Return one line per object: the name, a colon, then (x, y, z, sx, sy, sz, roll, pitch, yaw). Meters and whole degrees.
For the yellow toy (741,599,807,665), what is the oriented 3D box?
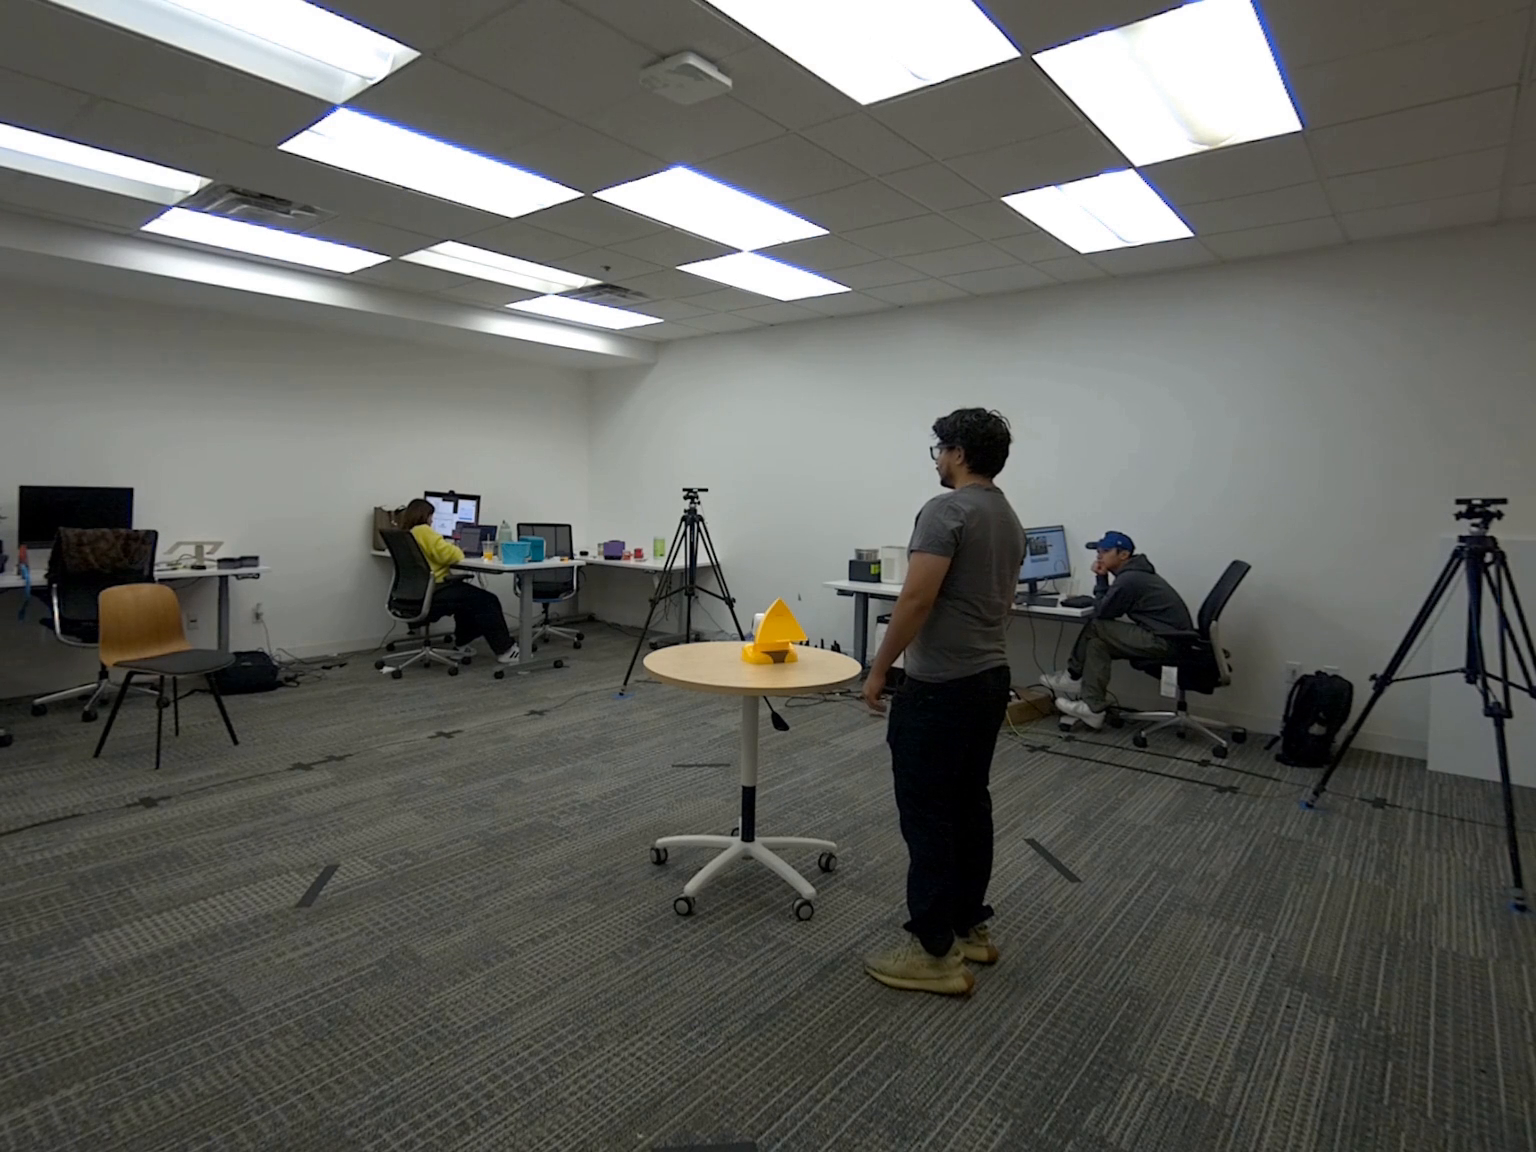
yellow toy: (0.000, 0.183, 3.049, 0.200, 0.230, 0.198, -1, 4, -27)
